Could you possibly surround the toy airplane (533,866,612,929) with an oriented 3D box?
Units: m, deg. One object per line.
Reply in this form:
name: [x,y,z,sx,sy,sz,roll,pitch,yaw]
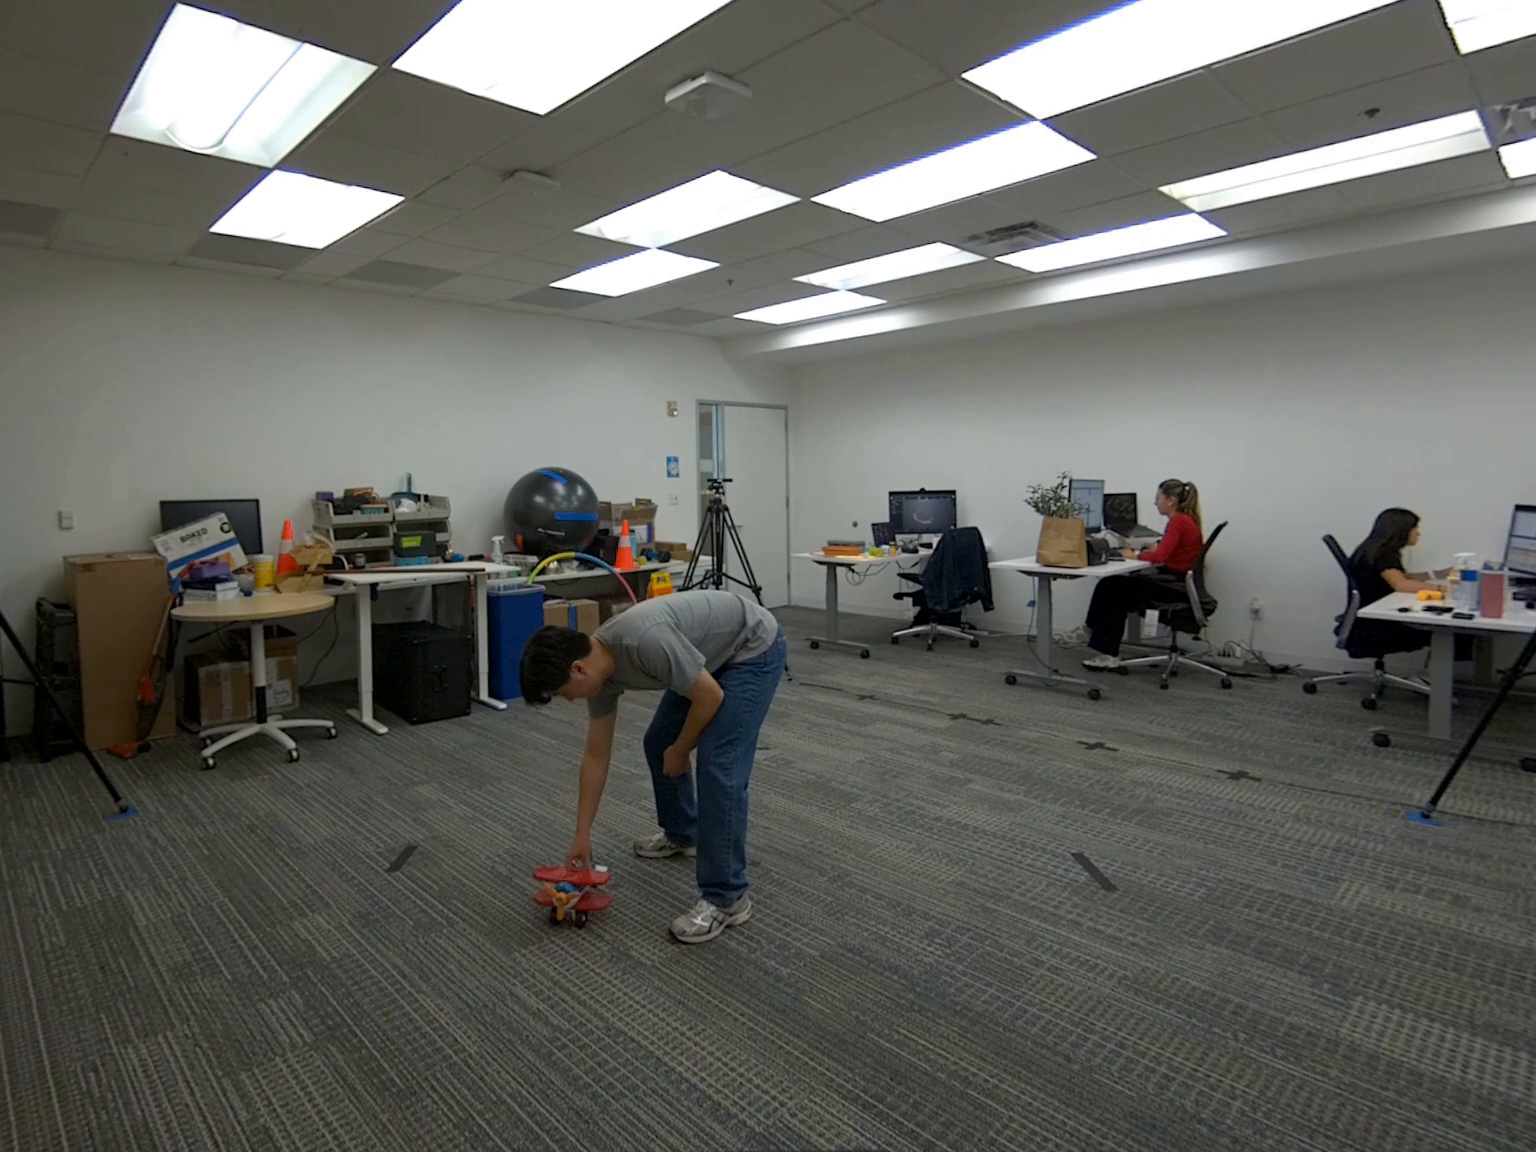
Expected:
toy airplane: [-0.634,1.009,2.776,0.248,0.154,0.267,-8,20,-15]
